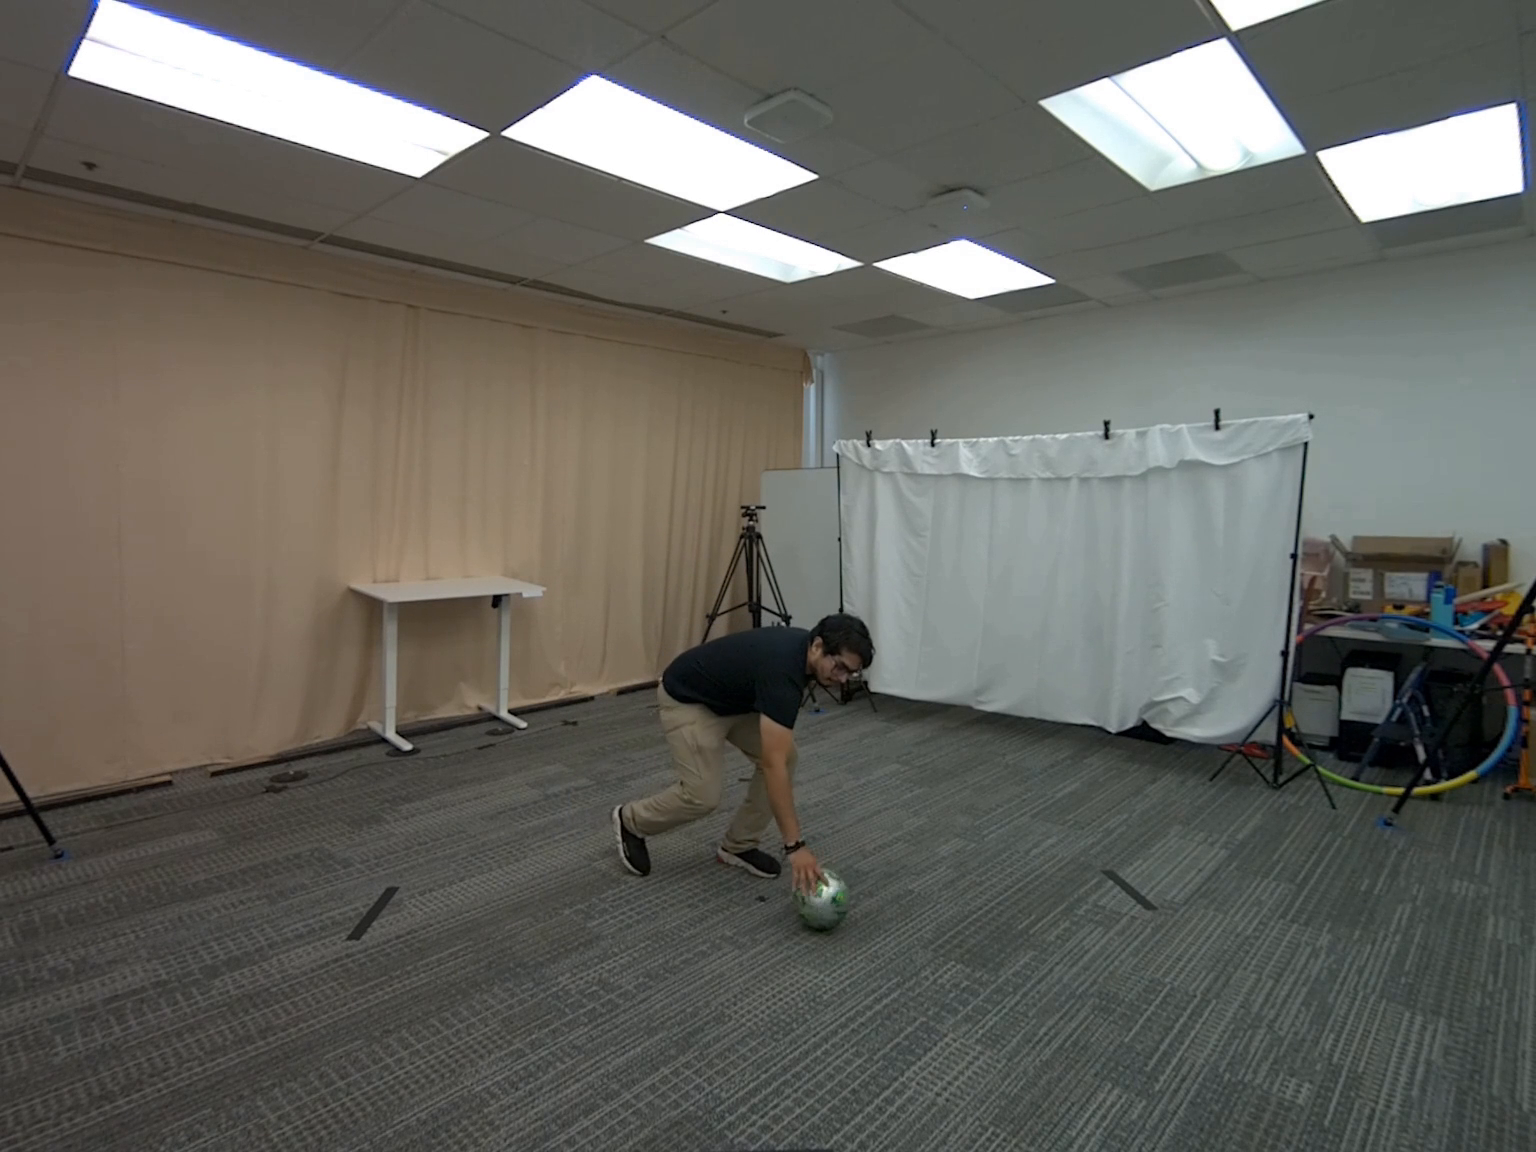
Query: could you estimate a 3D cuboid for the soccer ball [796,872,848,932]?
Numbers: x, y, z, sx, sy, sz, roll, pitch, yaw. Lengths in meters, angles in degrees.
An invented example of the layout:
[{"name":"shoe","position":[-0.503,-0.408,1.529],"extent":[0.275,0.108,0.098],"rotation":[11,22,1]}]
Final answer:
[{"name":"soccer ball","position":[0.180,1.066,2.777],"extent":[0.187,0.187,0.188],"rotation":[0,4,-2]}]
